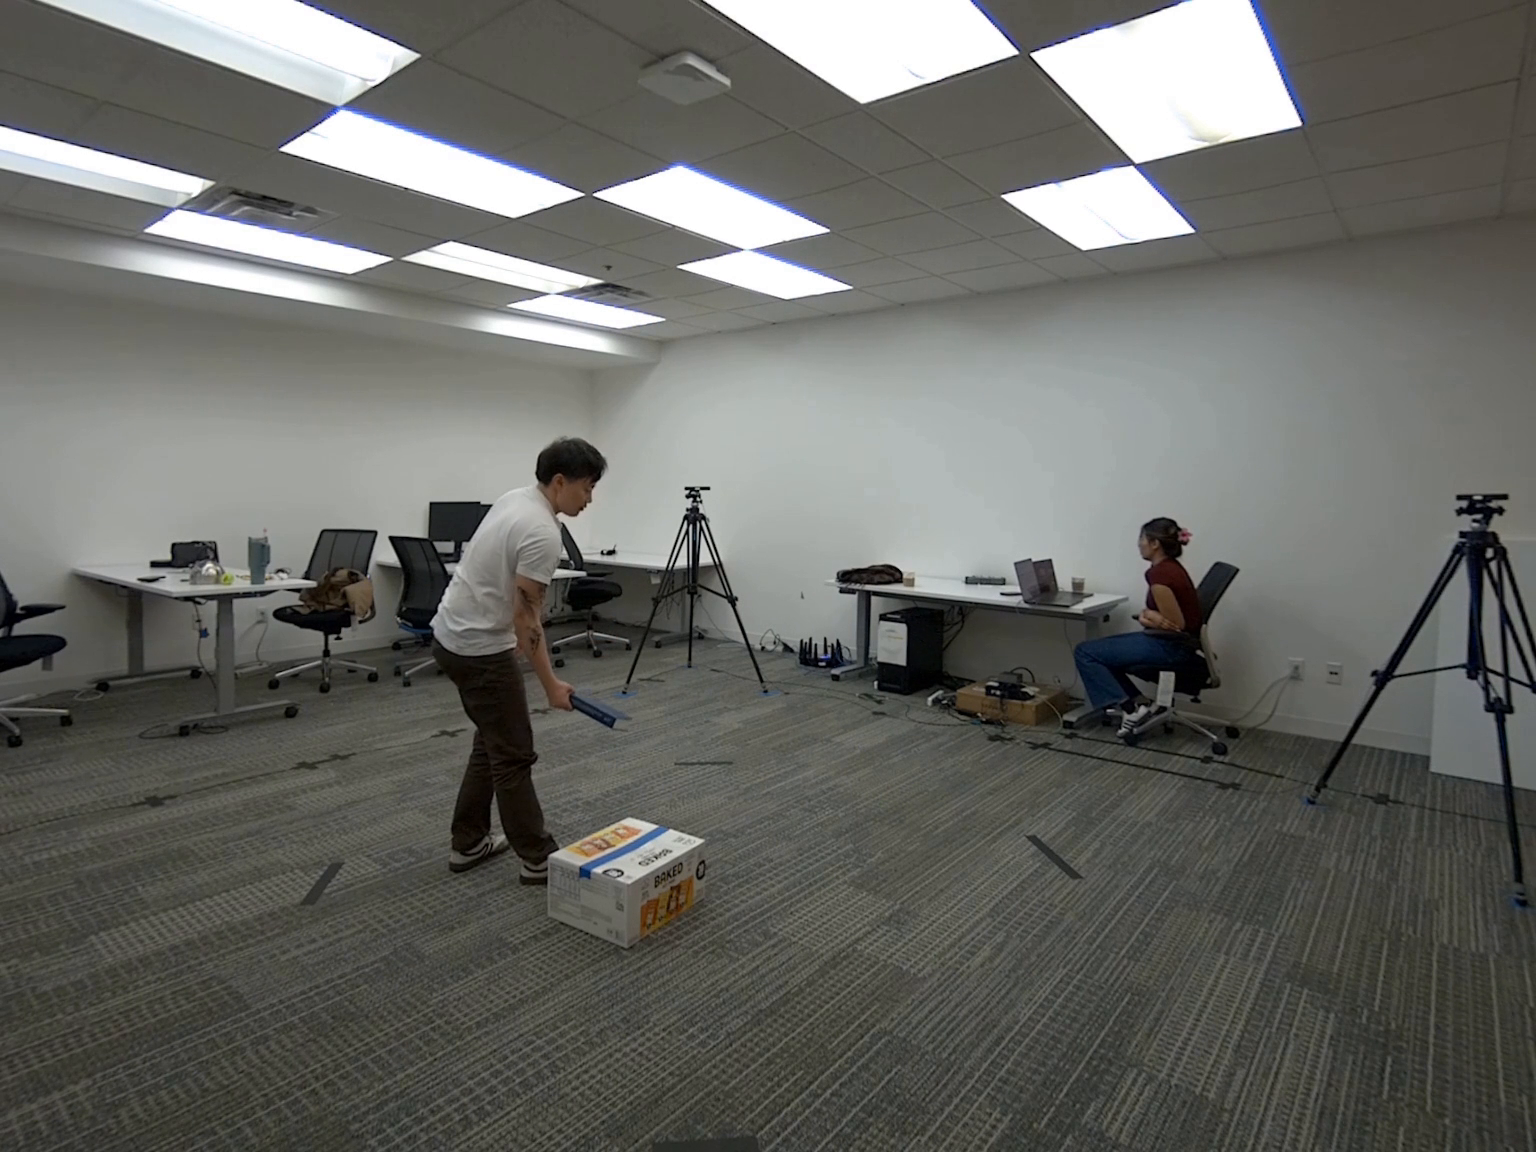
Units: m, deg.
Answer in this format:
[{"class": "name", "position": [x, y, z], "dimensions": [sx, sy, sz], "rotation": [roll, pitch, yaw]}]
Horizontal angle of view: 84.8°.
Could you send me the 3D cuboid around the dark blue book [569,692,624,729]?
[{"class": "dark blue book", "position": [-0.614, 0.468, 2.980], "dimensions": [0.252, 0.045, 0.159], "rotation": [23, -4, 20]}]
